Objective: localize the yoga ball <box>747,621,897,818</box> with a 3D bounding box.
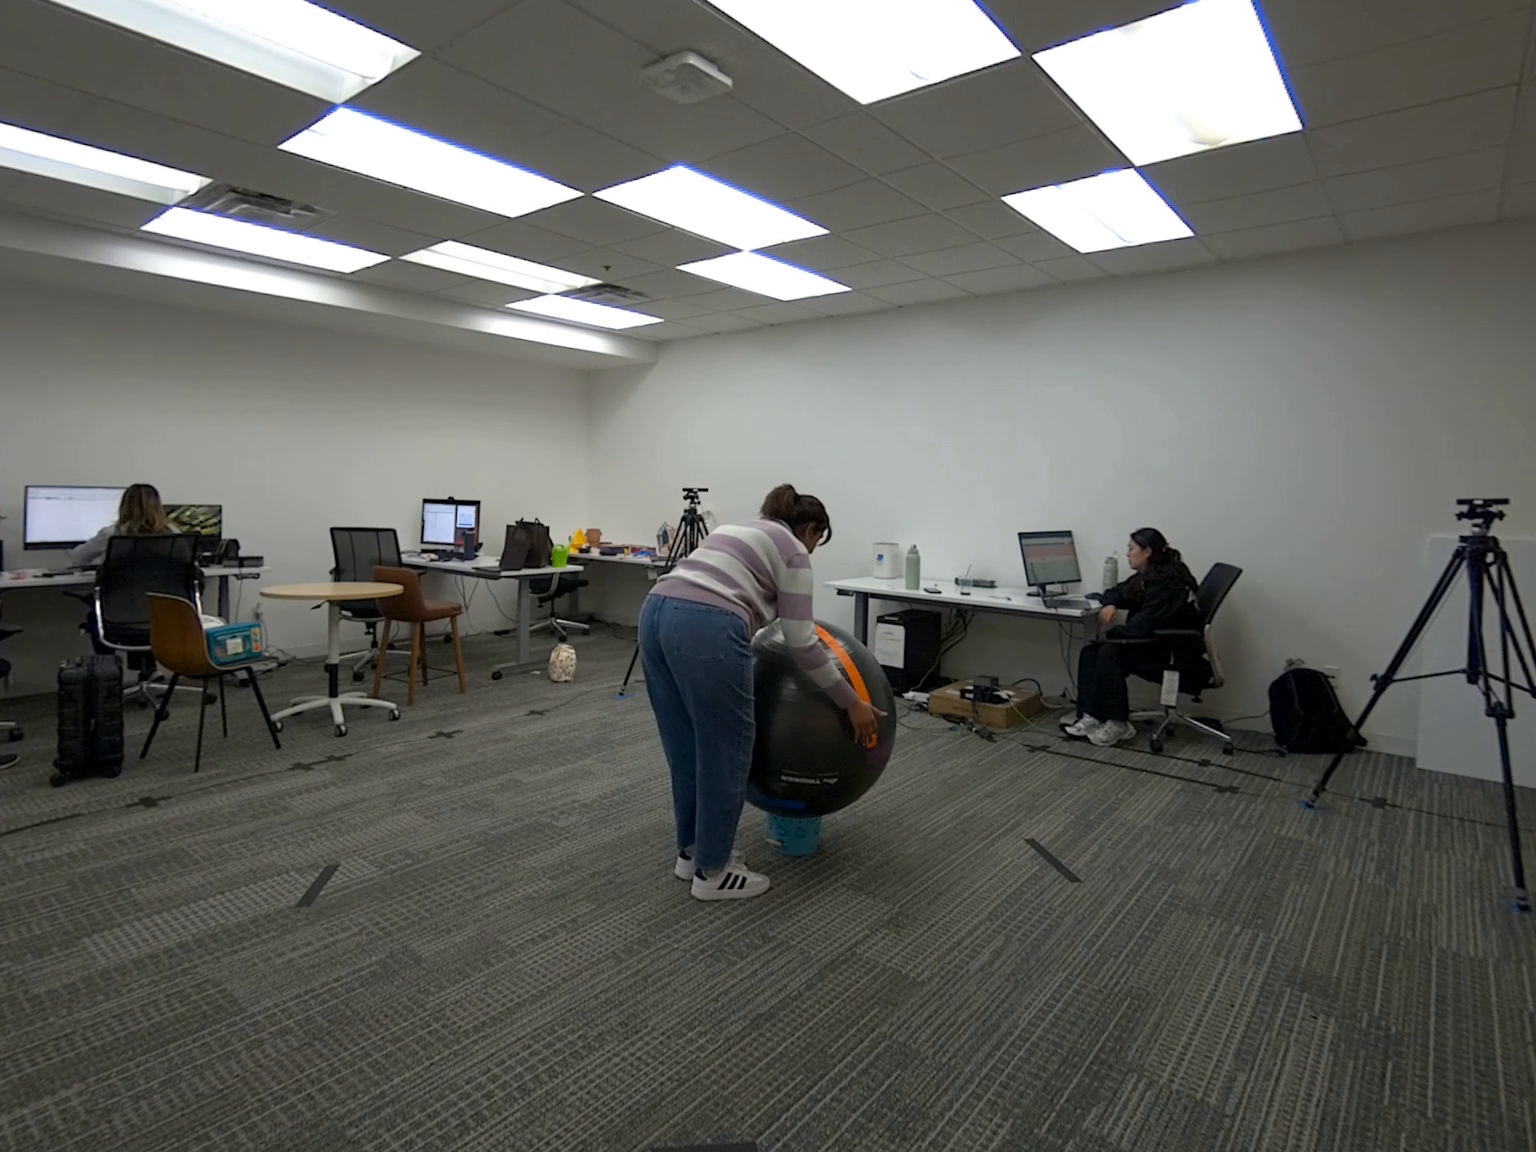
[{"bbox_3d":[0.124,0.548,3.323,0.757,0.756,0.762,1,4,-2],"label":"yoga ball"}]
